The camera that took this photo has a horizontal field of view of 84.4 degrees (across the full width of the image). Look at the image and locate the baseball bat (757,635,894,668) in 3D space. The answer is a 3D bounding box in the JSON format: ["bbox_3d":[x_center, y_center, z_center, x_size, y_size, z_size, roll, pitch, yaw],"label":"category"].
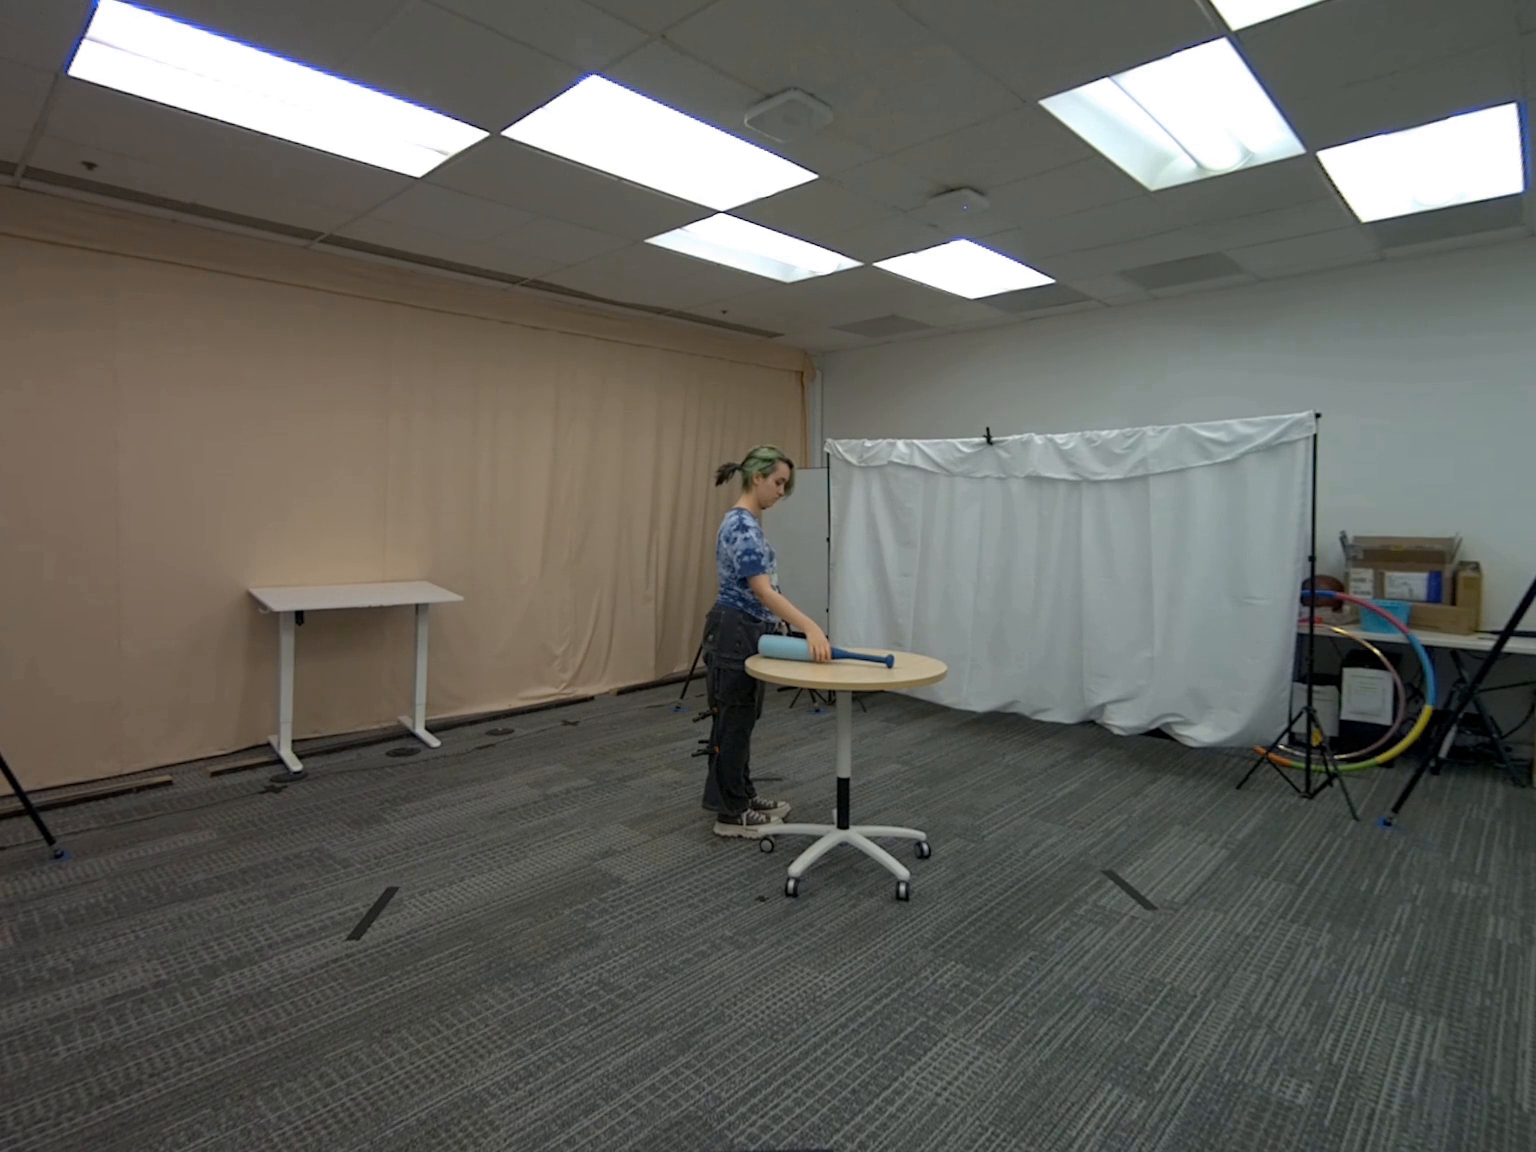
[{"bbox_3d":[0.225,0.302,3.256,0.557,0.089,0.087,6,6,25],"label":"baseball bat"}]
